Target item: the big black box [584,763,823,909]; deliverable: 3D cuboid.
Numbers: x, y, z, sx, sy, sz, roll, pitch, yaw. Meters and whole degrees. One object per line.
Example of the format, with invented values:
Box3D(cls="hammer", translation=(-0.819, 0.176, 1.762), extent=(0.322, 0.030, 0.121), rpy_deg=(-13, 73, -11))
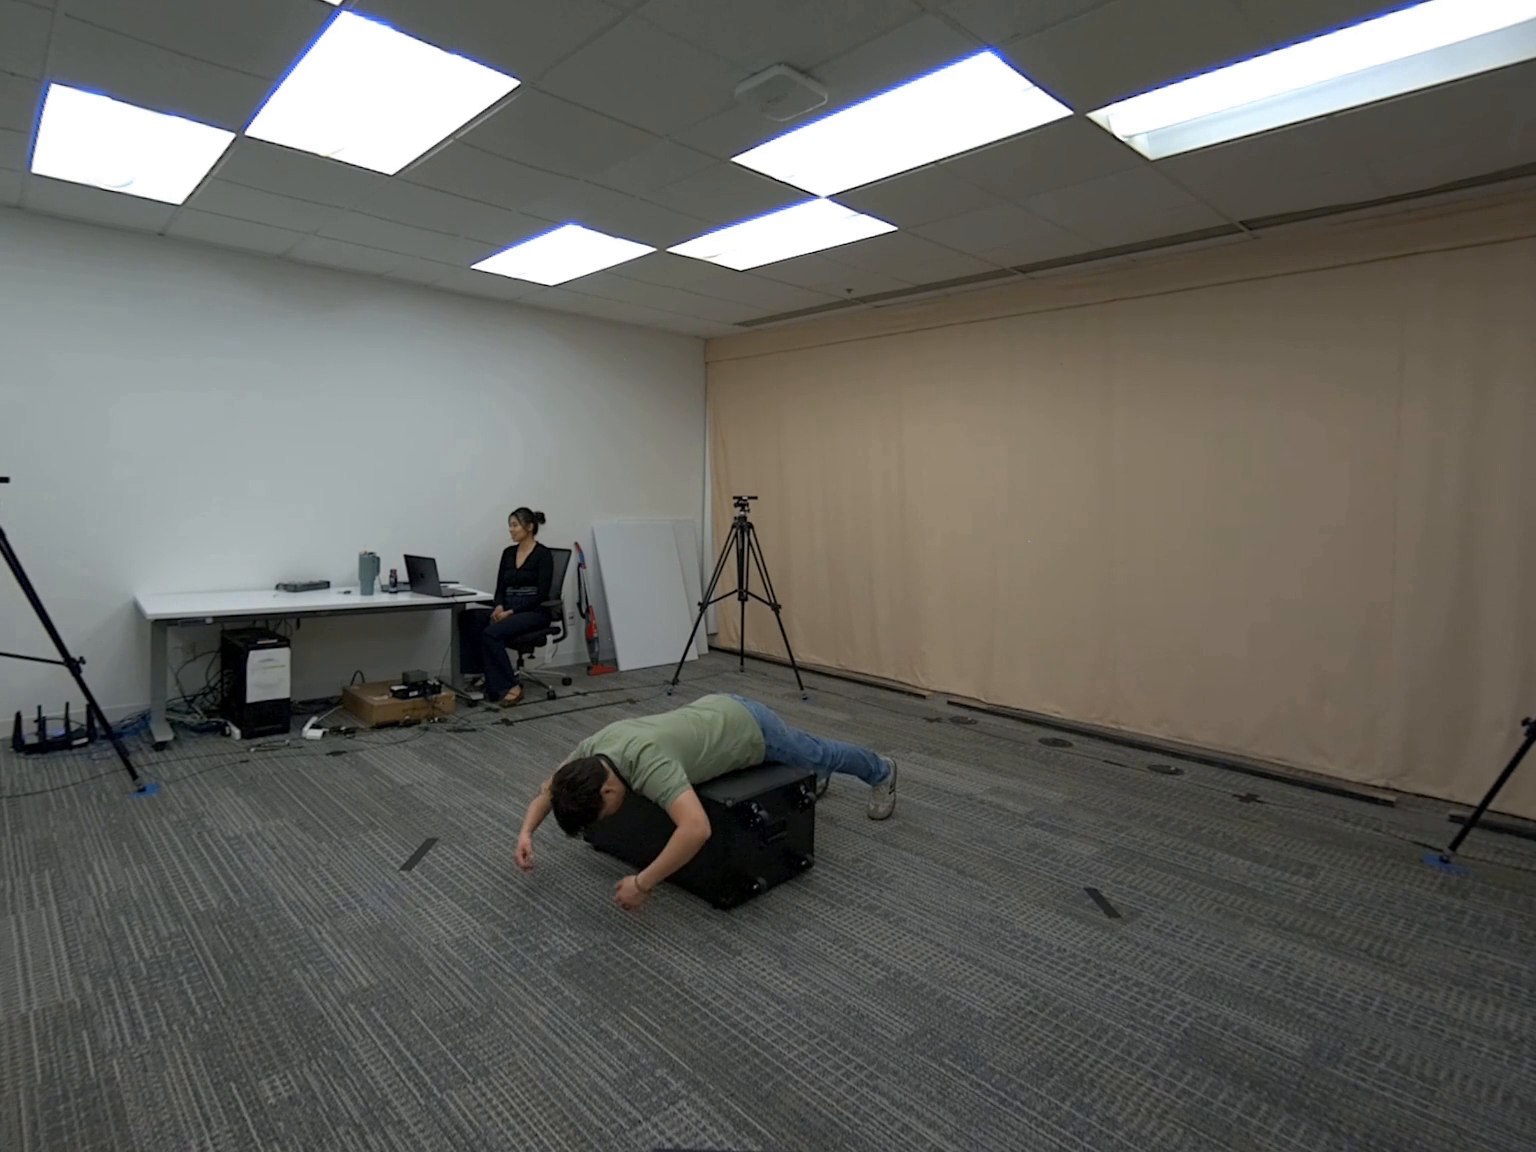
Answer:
Box3D(cls="big black box", translation=(-0.256, 0.909, 3.199), extent=(0.882, 0.395, 0.510), rpy_deg=(3, 5, 41))
